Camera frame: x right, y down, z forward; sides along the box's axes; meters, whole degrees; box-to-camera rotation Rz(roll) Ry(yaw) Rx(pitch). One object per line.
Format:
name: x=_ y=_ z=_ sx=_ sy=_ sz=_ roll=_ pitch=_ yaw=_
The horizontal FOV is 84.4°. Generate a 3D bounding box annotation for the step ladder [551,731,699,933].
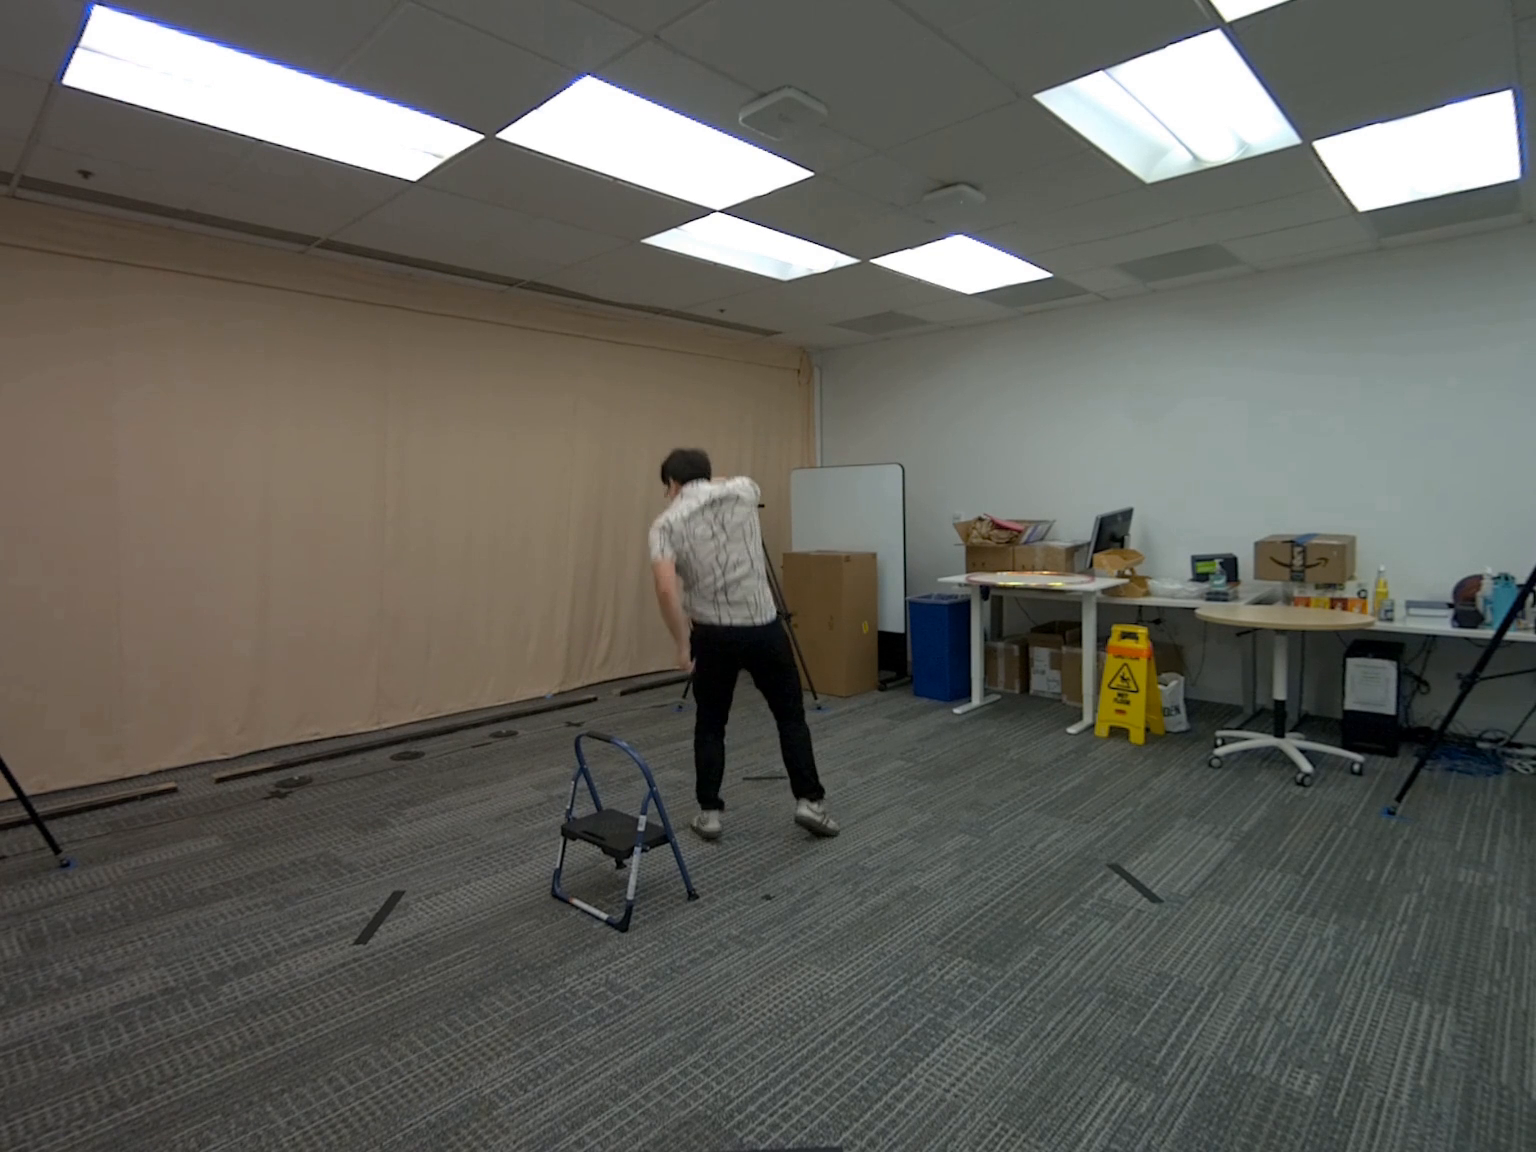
step ladder: x=-0.523 y=0.845 z=3.003 sx=0.445 sy=0.605 sz=0.339 roll=2 pitch=4 yaw=41
